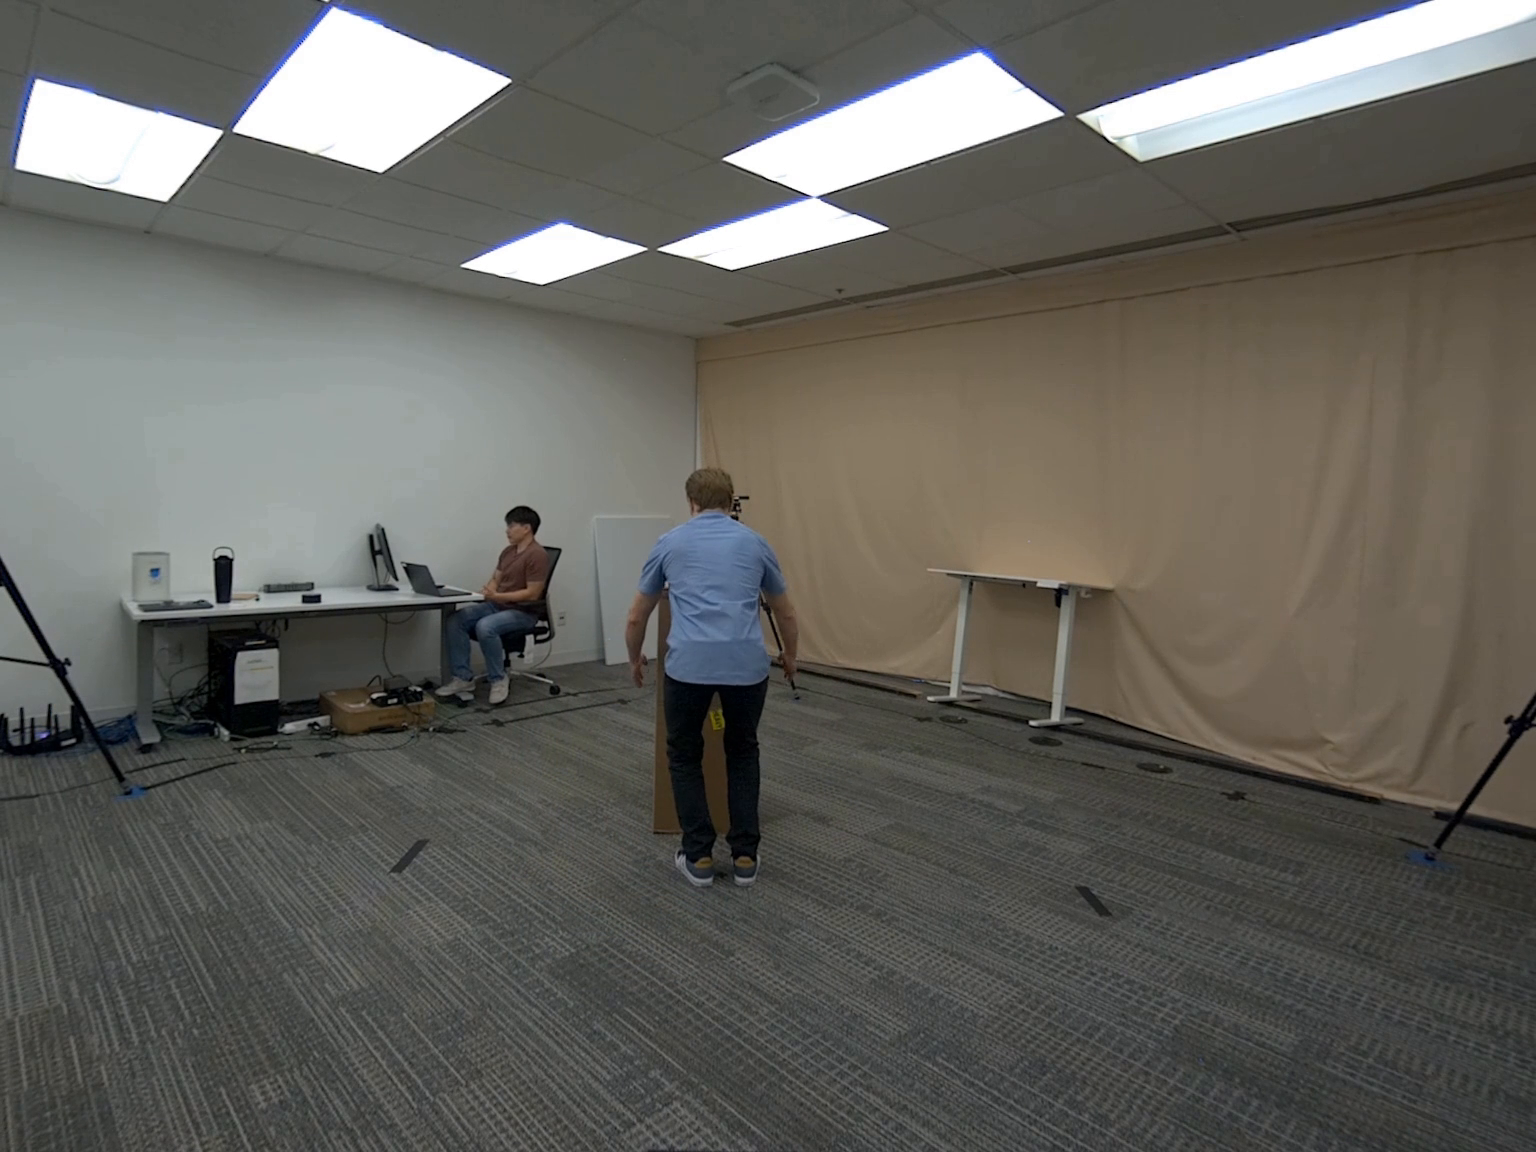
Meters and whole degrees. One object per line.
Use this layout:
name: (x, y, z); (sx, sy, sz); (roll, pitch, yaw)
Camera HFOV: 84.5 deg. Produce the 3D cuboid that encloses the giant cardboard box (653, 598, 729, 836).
giant cardboard box: (-0.287, 0.536, 3.749); (0.424, 1.024, 0.581); (2, 3, -5)
